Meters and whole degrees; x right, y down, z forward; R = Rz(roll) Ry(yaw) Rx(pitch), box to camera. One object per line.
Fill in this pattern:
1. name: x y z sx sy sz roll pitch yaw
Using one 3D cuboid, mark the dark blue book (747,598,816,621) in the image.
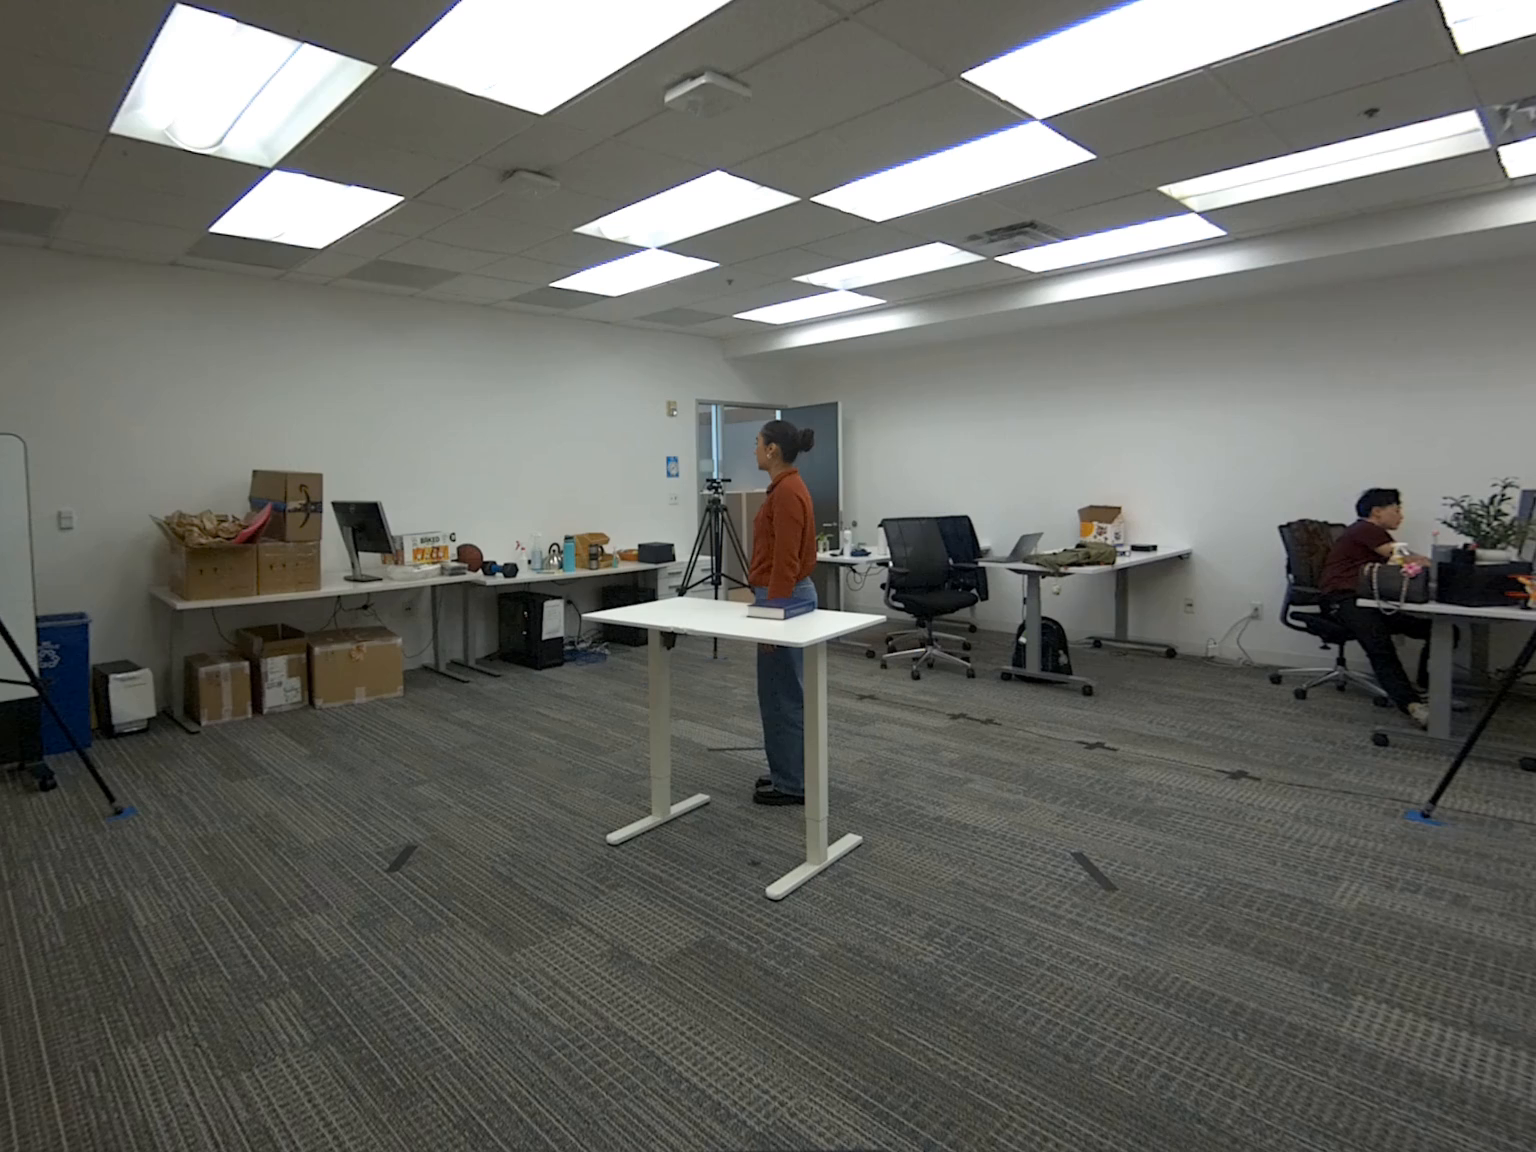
1. dark blue book: 0.043 0.126 3.249 0.168 0.045 0.240 2 7 30
